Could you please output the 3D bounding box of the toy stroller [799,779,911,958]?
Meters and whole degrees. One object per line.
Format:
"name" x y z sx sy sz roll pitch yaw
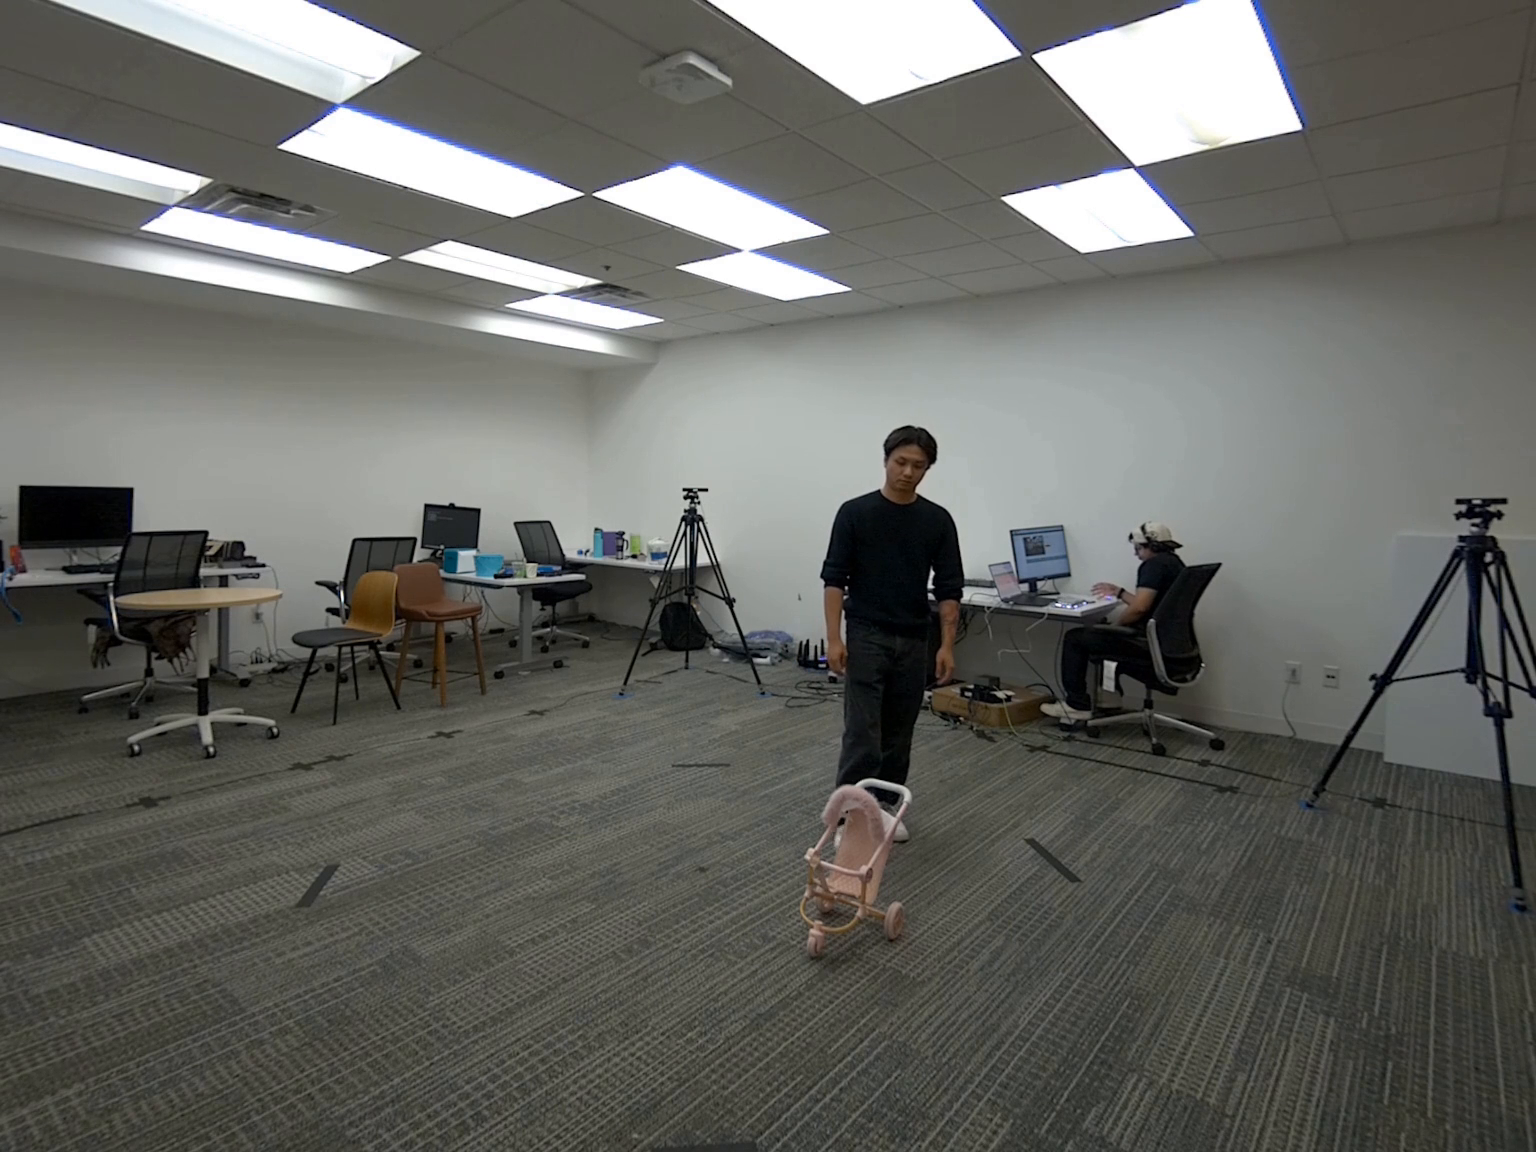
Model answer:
"toy stroller" 0.254 0.900 2.682 0.291 0.539 0.327 4 -13 41
